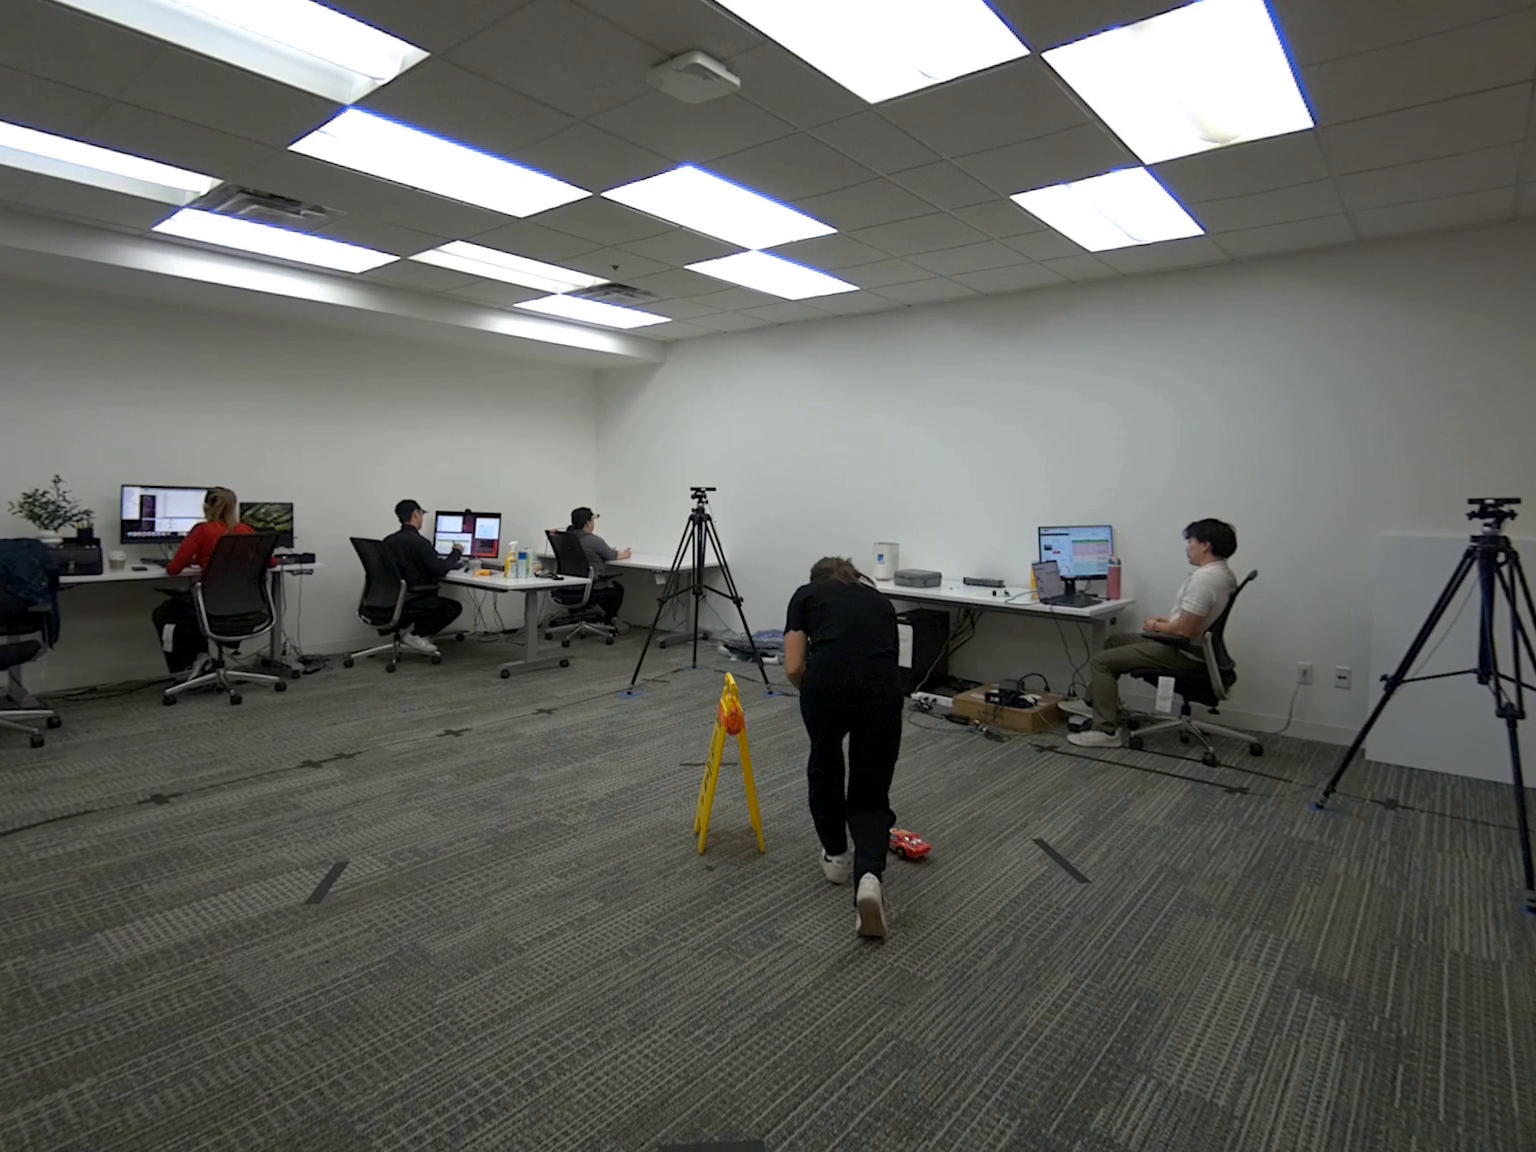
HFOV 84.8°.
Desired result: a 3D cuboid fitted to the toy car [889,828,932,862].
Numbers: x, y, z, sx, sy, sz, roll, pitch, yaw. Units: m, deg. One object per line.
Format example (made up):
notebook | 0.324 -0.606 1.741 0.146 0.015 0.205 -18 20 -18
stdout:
toy car | 0.513 1.035 3.295 0.126 0.084 0.260 -2 -4 -34
